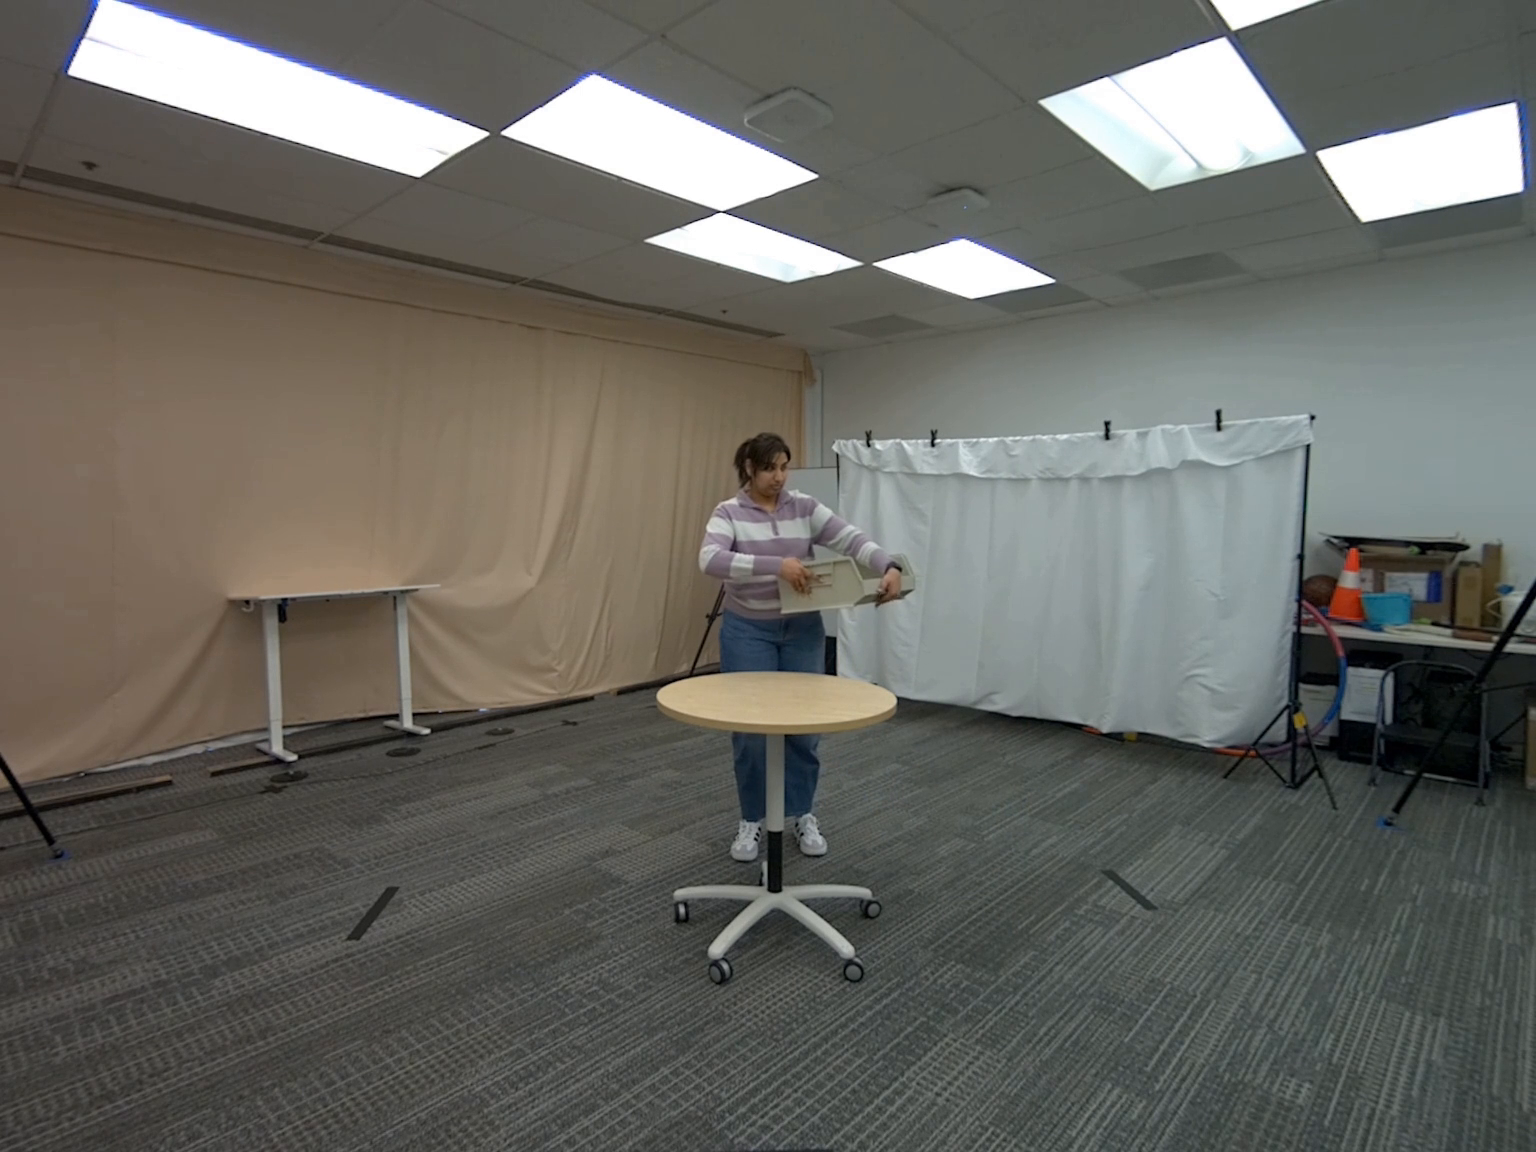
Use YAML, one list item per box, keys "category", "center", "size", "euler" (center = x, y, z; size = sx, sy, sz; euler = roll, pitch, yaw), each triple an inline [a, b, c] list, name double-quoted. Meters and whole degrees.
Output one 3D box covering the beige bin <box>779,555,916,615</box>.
- category: "beige bin"
  center: [0.304, 0.026, 3.216]
  size: [0.388, 0.189, 0.410]
  euler: [-9, -1, 37]
